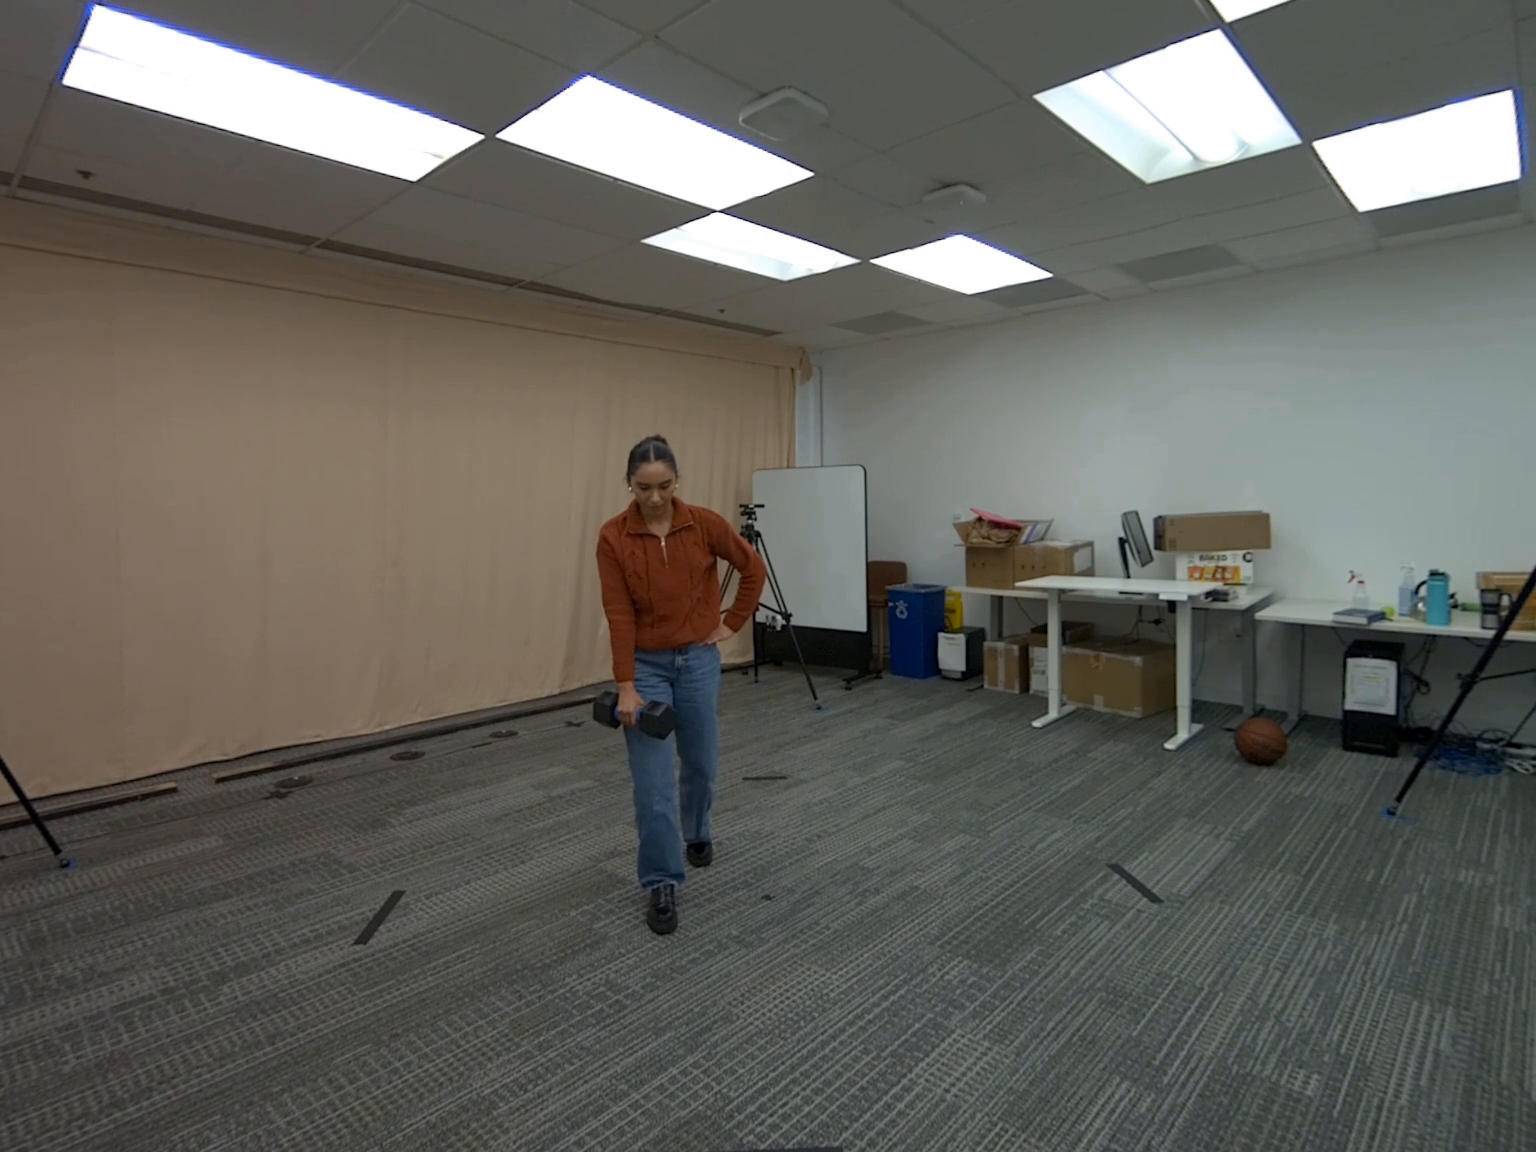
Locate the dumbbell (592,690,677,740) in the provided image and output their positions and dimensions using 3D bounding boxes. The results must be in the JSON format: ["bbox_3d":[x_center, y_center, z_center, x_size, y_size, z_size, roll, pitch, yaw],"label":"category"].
[{"bbox_3d":[-0.442,0.462,2.789,0.303,0.123,0.105,4,1,38],"label":"dumbbell"}]
